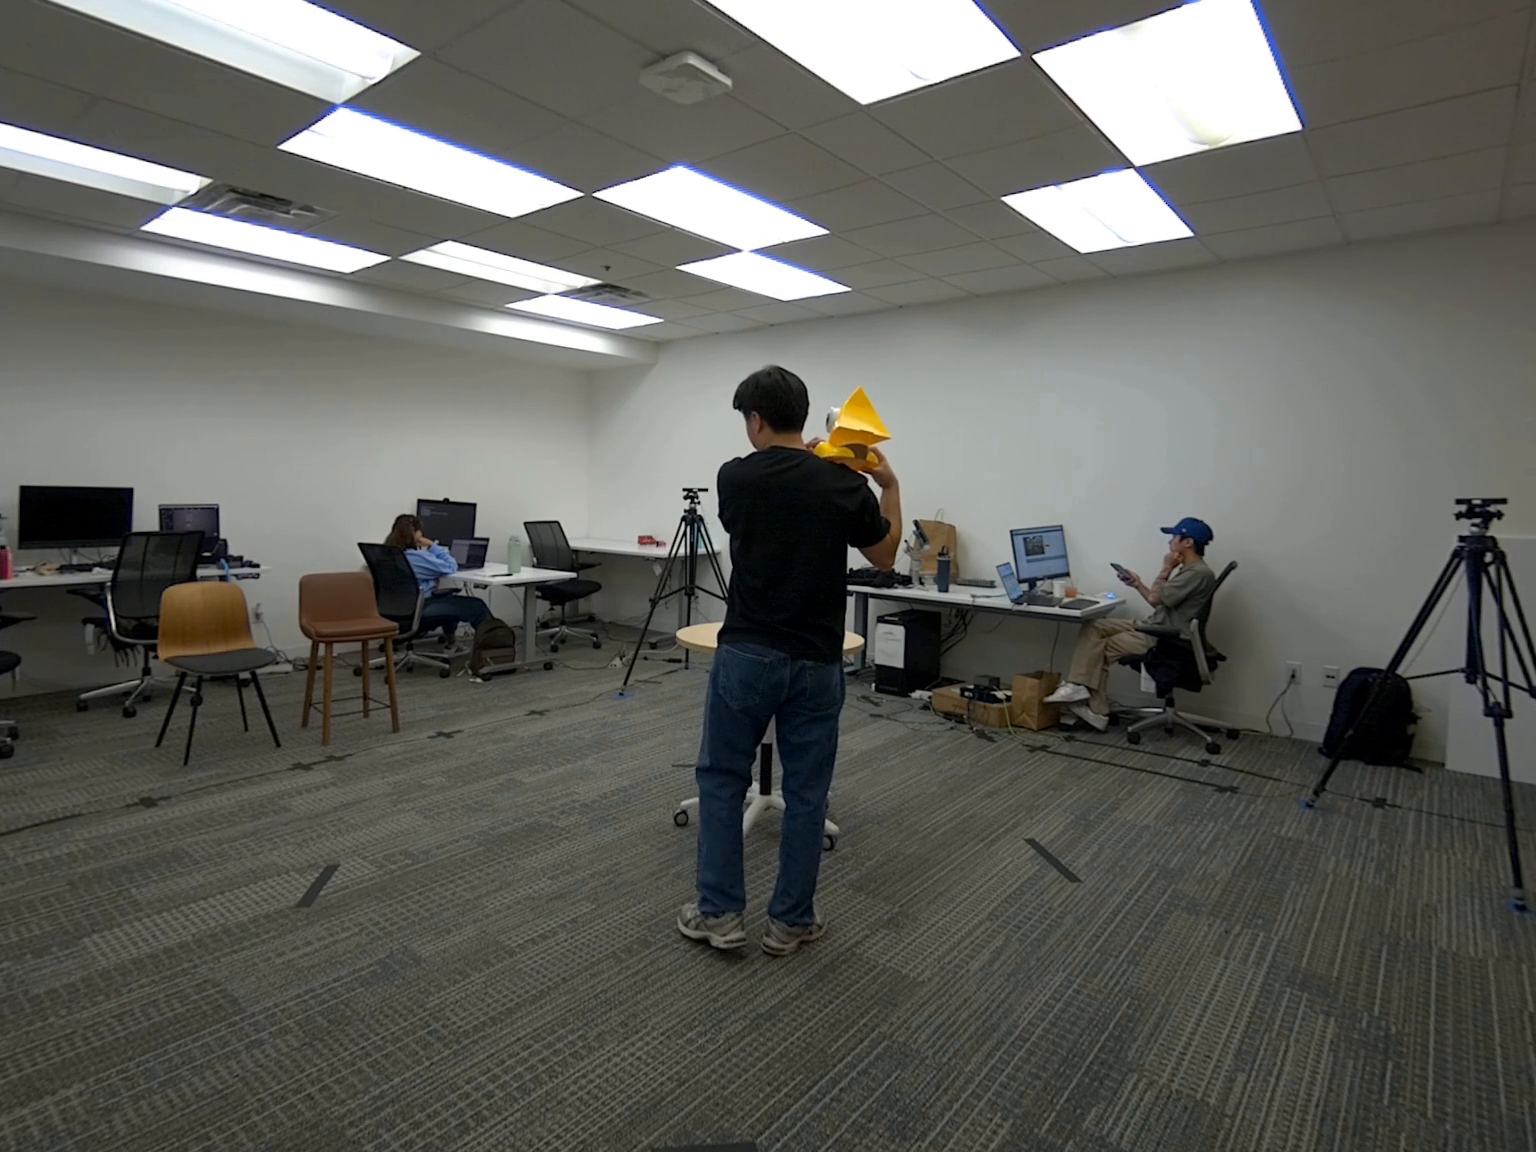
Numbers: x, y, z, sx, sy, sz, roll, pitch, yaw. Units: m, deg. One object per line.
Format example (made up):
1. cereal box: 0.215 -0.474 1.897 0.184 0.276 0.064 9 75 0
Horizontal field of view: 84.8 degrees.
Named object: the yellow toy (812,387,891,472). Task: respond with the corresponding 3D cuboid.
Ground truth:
1. yellow toy: 0.228 -0.459 2.606 0.199 0.232 0.197 7 -9 -30
